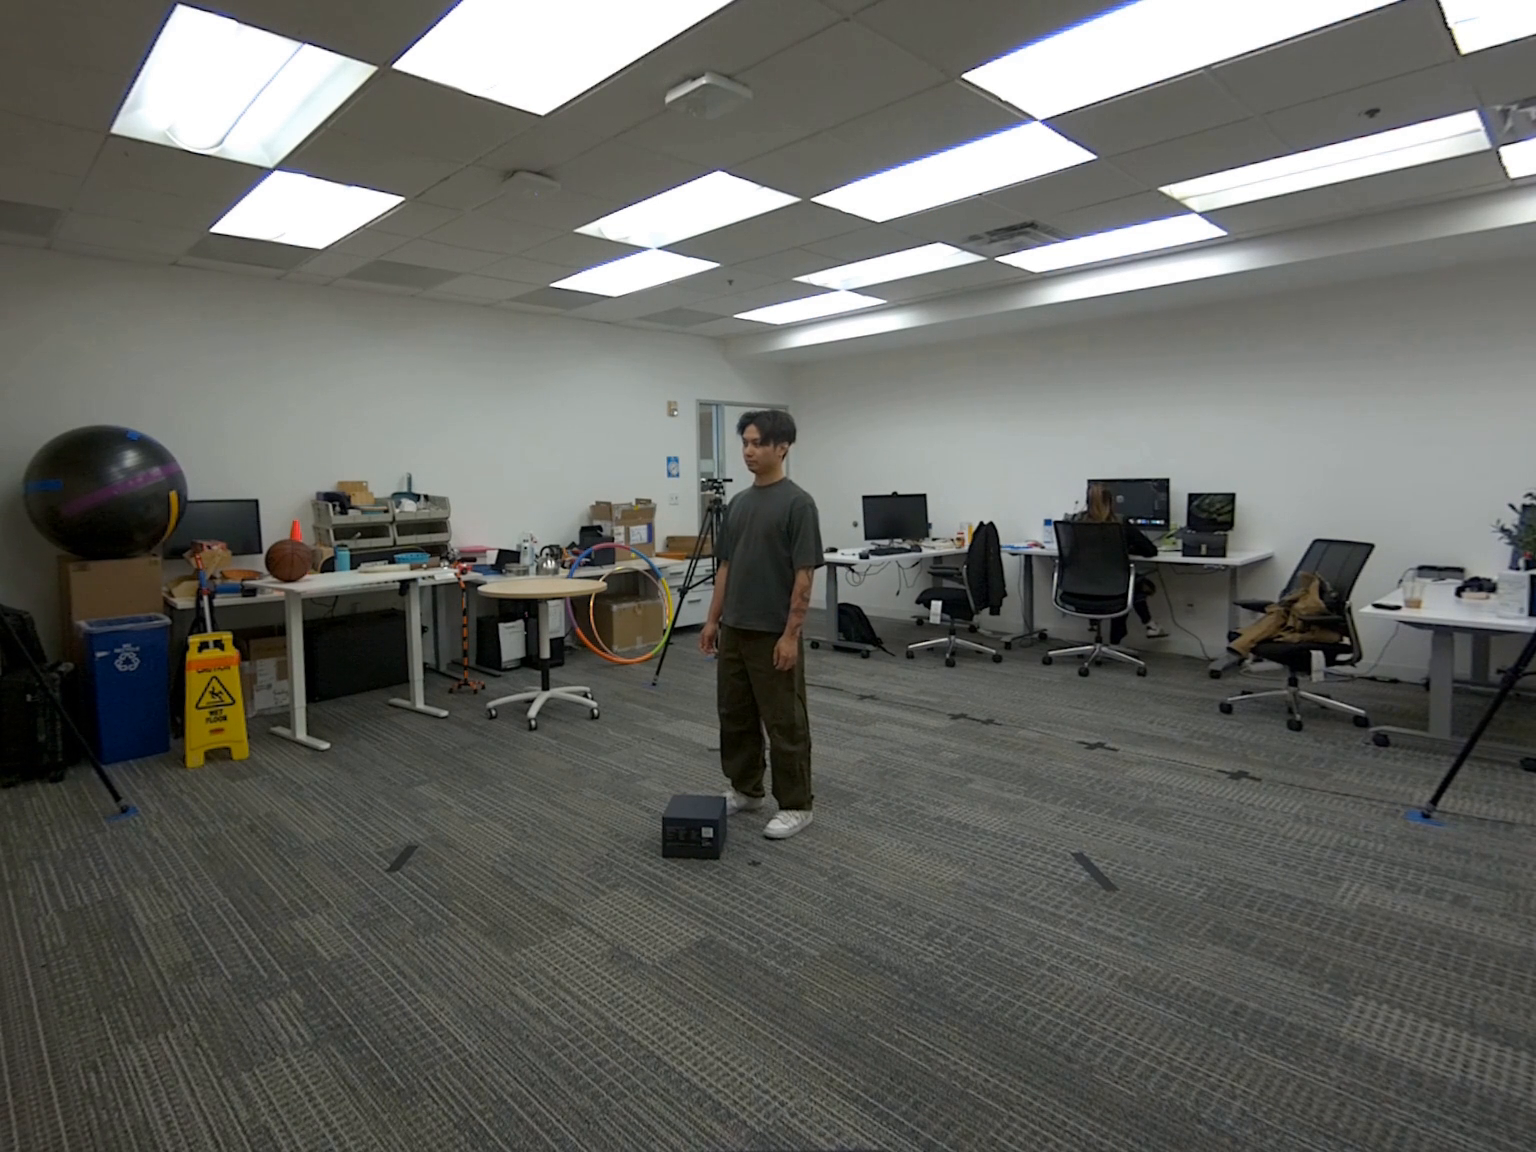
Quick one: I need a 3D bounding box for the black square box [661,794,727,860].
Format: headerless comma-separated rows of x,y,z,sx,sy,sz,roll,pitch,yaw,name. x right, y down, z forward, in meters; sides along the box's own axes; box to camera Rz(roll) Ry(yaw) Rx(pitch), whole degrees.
-0.277,0.947,3.252,0.218,0.155,0.227,0,5,5,black square box
